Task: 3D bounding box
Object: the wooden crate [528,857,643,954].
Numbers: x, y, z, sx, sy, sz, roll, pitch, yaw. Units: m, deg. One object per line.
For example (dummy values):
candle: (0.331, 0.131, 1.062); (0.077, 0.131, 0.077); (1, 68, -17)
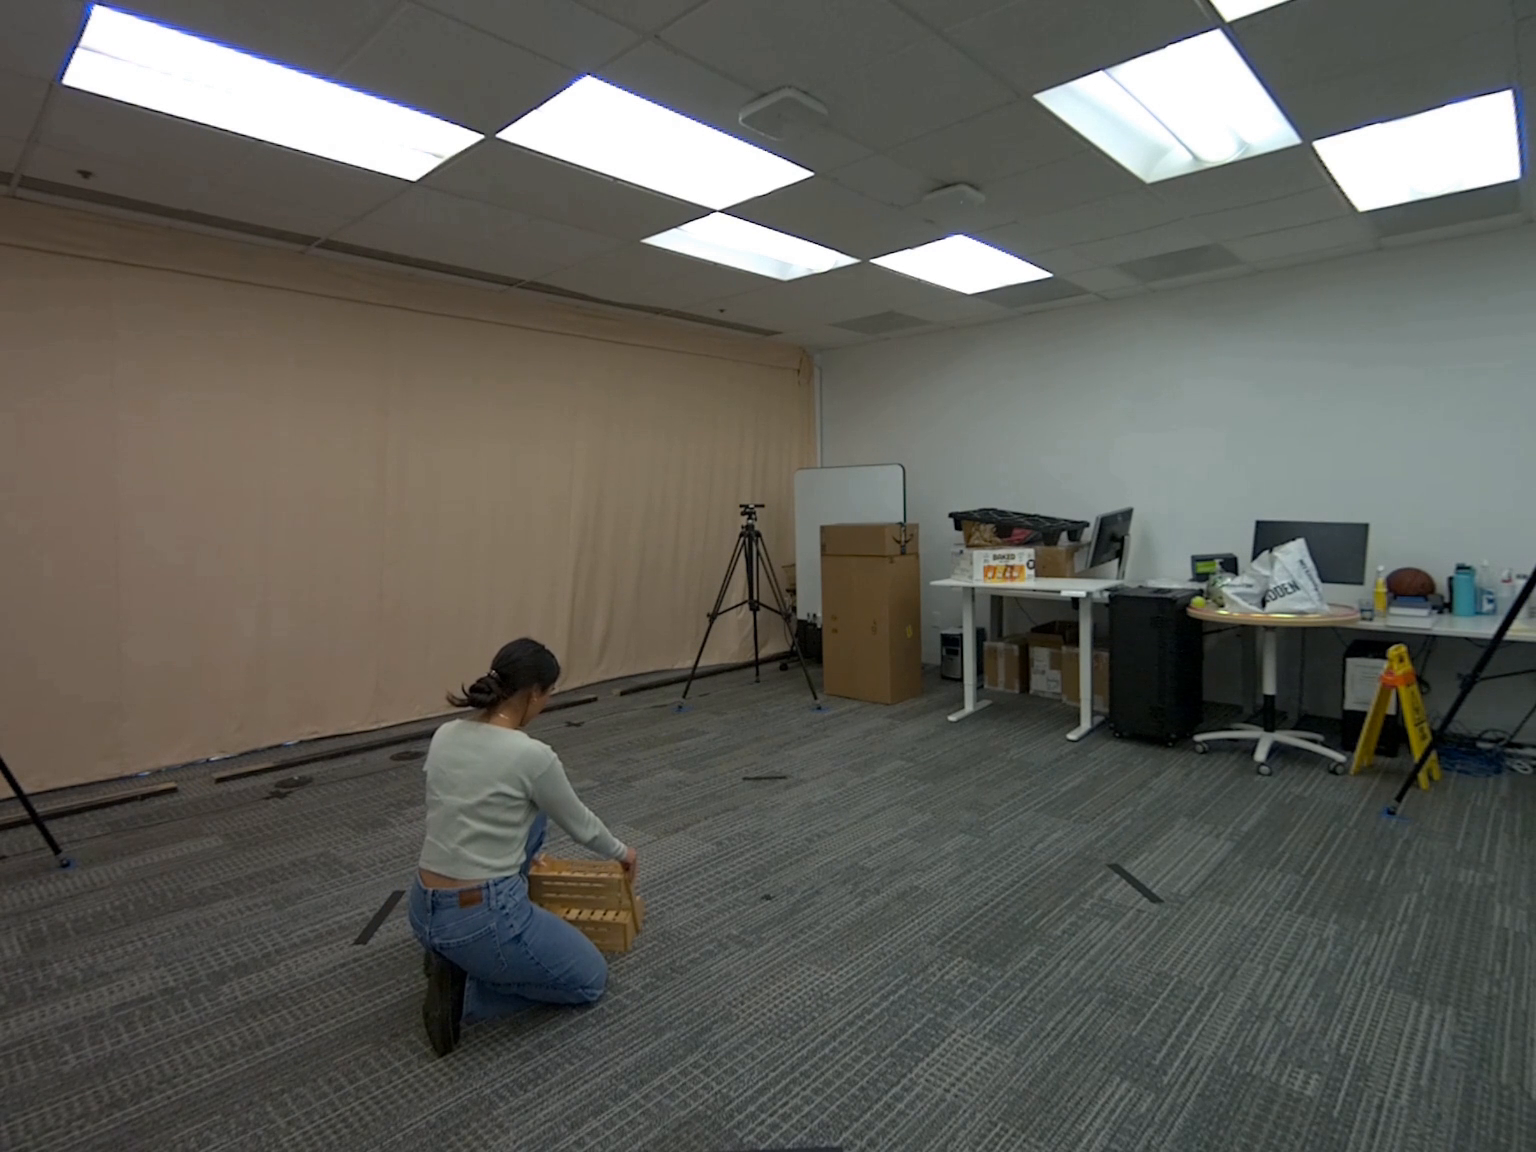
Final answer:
wooden crate: (-0.591, 1.041, 2.757); (0.327, 0.273, 0.300); (-1, 4, 6)
